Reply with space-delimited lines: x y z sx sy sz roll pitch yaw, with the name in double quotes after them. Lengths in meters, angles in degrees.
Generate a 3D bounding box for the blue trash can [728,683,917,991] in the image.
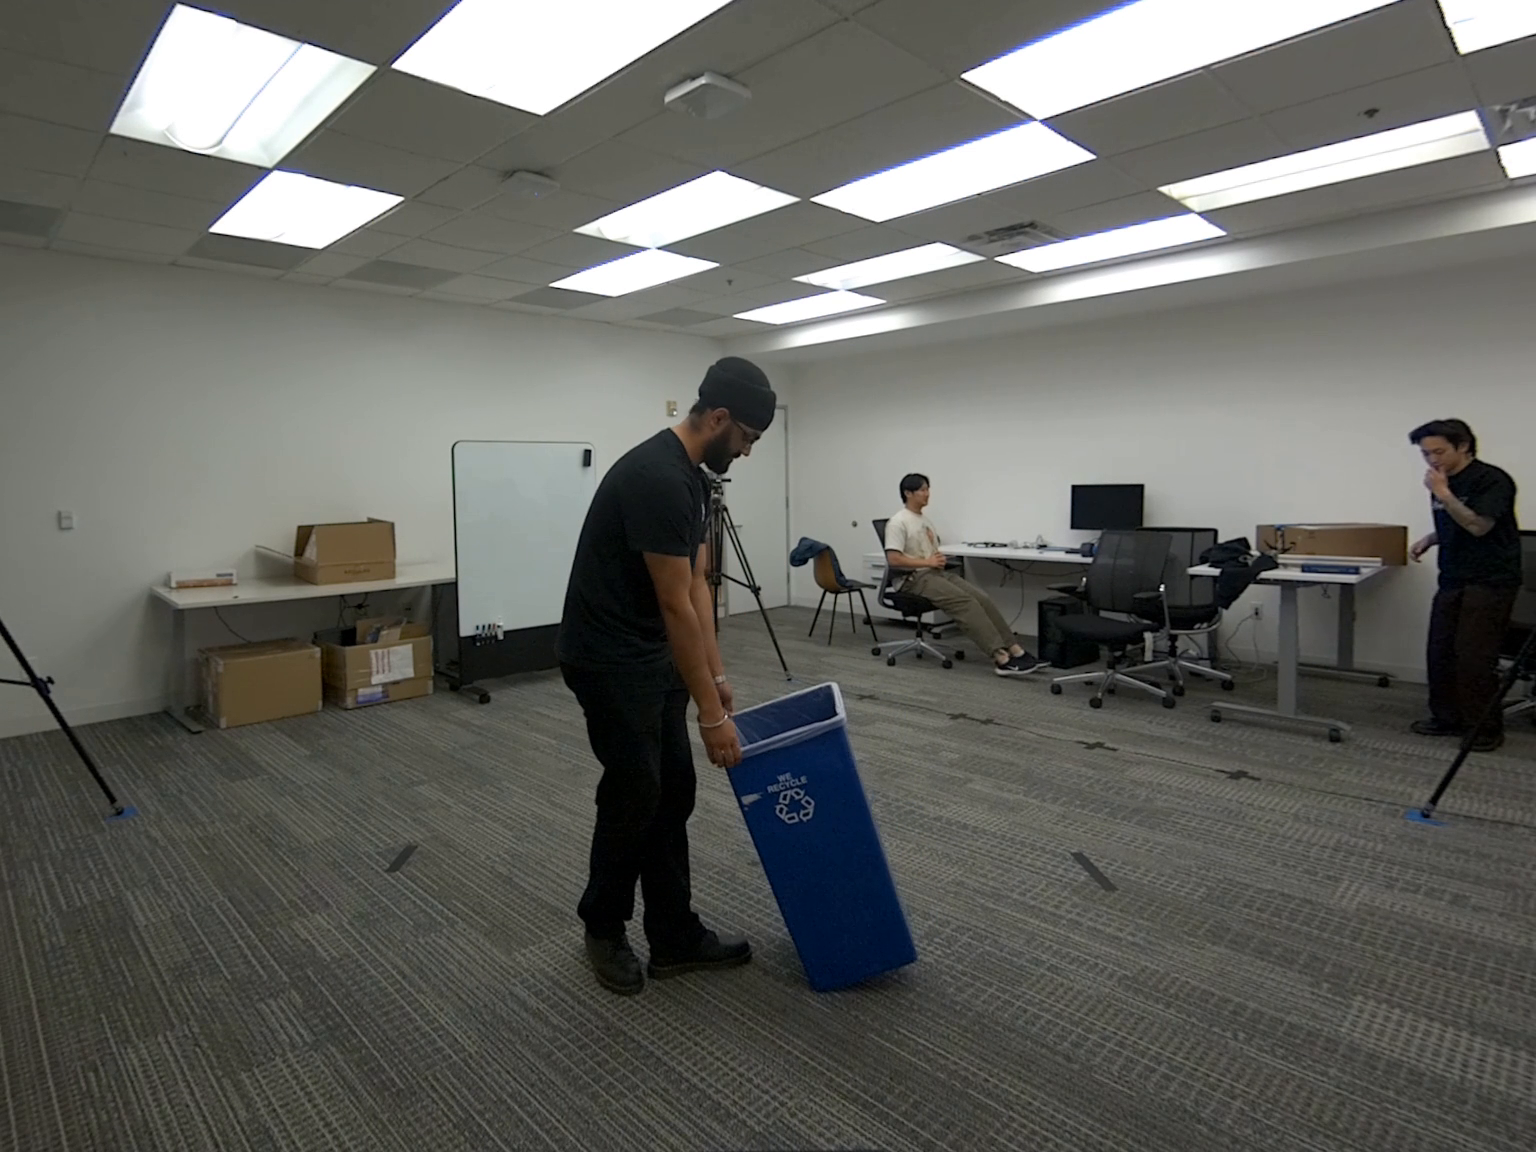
0.145 0.734 2.430 0.375 0.710 0.379 -19 4 3 "blue trash can"
